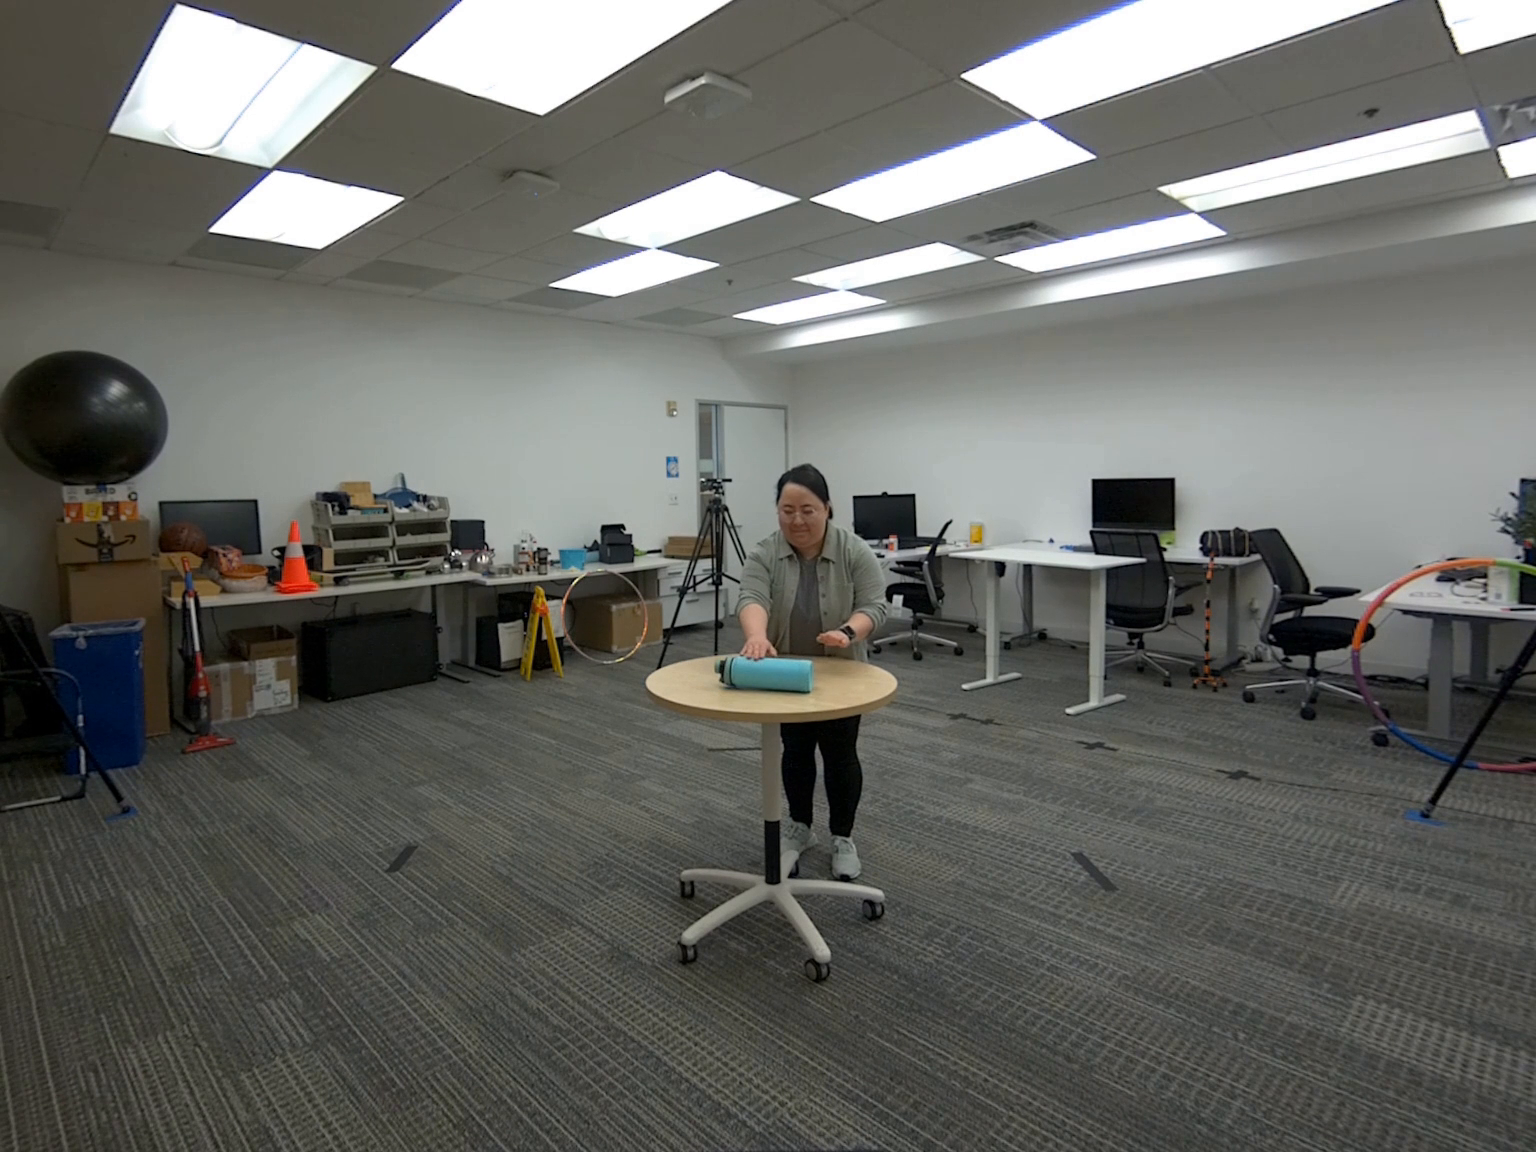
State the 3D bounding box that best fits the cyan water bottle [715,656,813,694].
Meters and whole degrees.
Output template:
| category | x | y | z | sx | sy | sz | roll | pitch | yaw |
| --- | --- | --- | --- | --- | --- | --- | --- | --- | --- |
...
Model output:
| category | x | y | z | sx | sy | sz | roll | pitch | yaw |
| --- | --- | --- | --- | --- | --- | --- | --- | --- | --- |
| cyan water bottle | -0.010 | 0.287 | 2.501 | 0.287 | 0.092 | 0.091 | 2 | 5 | 13 |
